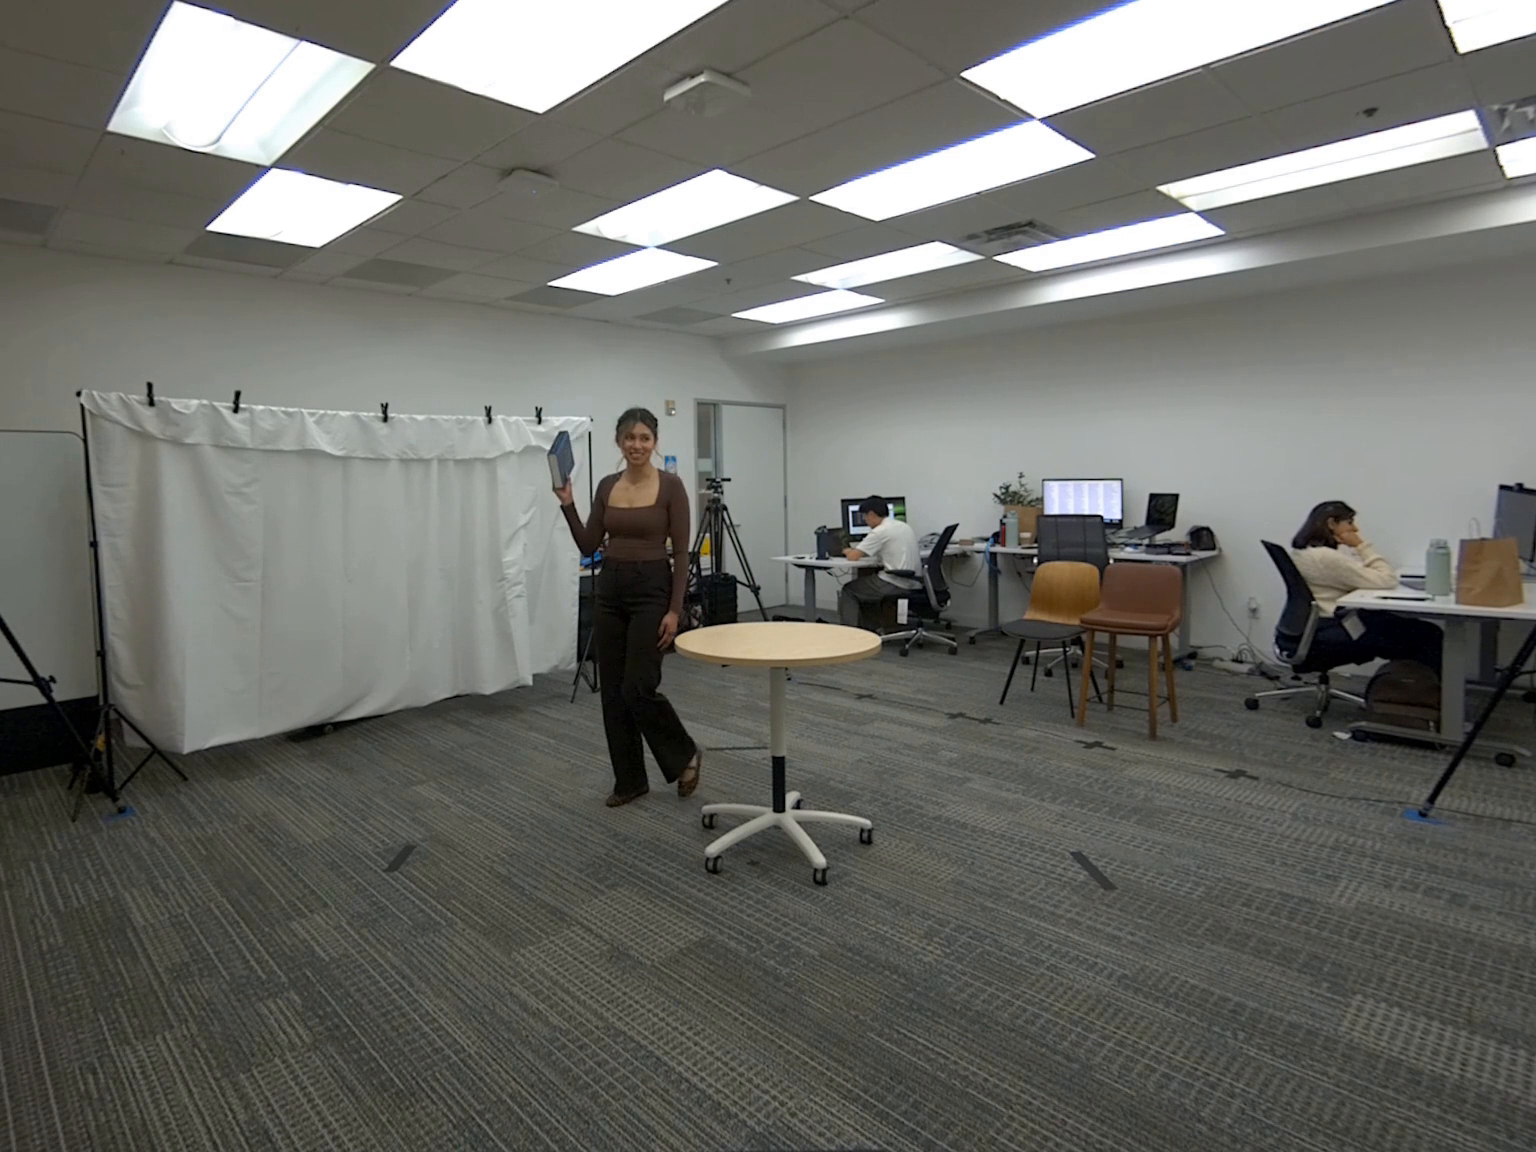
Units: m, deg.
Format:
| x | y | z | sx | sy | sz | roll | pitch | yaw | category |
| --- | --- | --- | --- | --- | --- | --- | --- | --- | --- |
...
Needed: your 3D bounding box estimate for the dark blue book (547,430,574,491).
| x | y | z | sx | sy | sz | roll | pitch | yaw | category |
| --- | --- | --- | --- | --- | --- | --- | --- | --- | --- |
| -0.879 | -0.497 | 3.651 | 0.045 | 0.159 | 0.251 | -3 | 31 | 0 | dark blue book |
